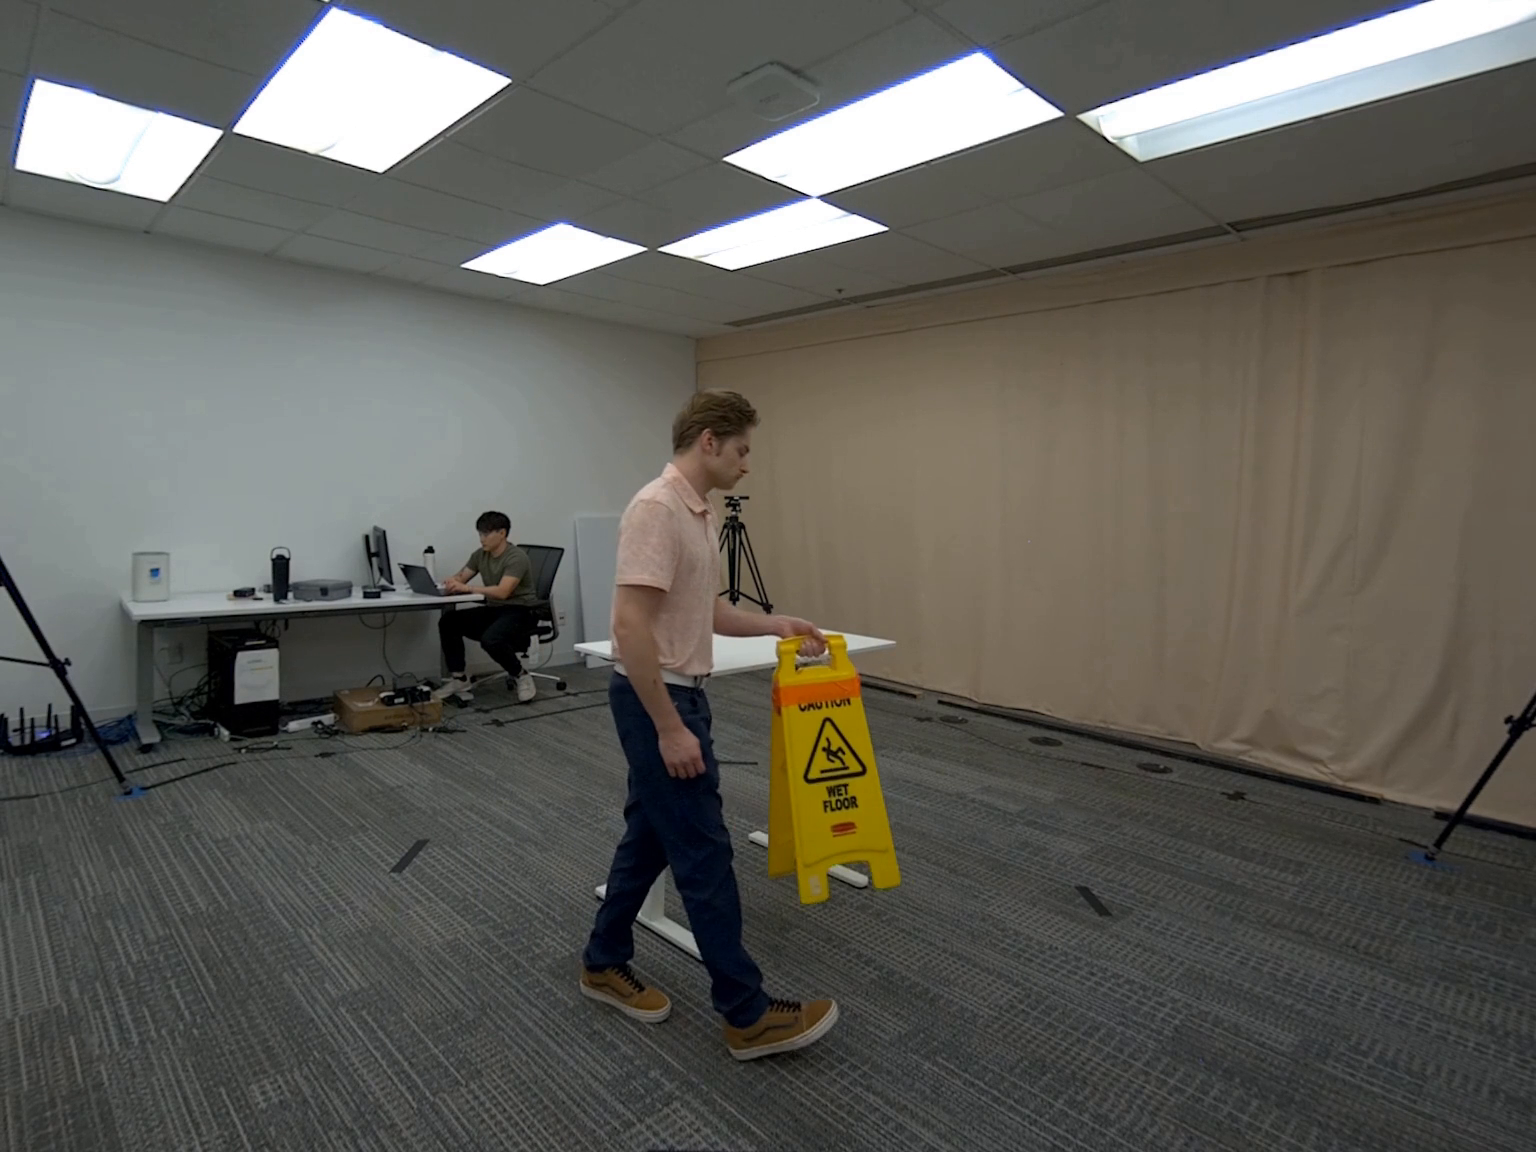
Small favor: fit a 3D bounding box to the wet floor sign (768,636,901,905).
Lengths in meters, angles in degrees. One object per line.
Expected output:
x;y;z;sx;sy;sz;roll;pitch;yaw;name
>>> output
0.135;0.489;2.252;0.279;0.648;0.292;-4;-4;-18;wet floor sign
